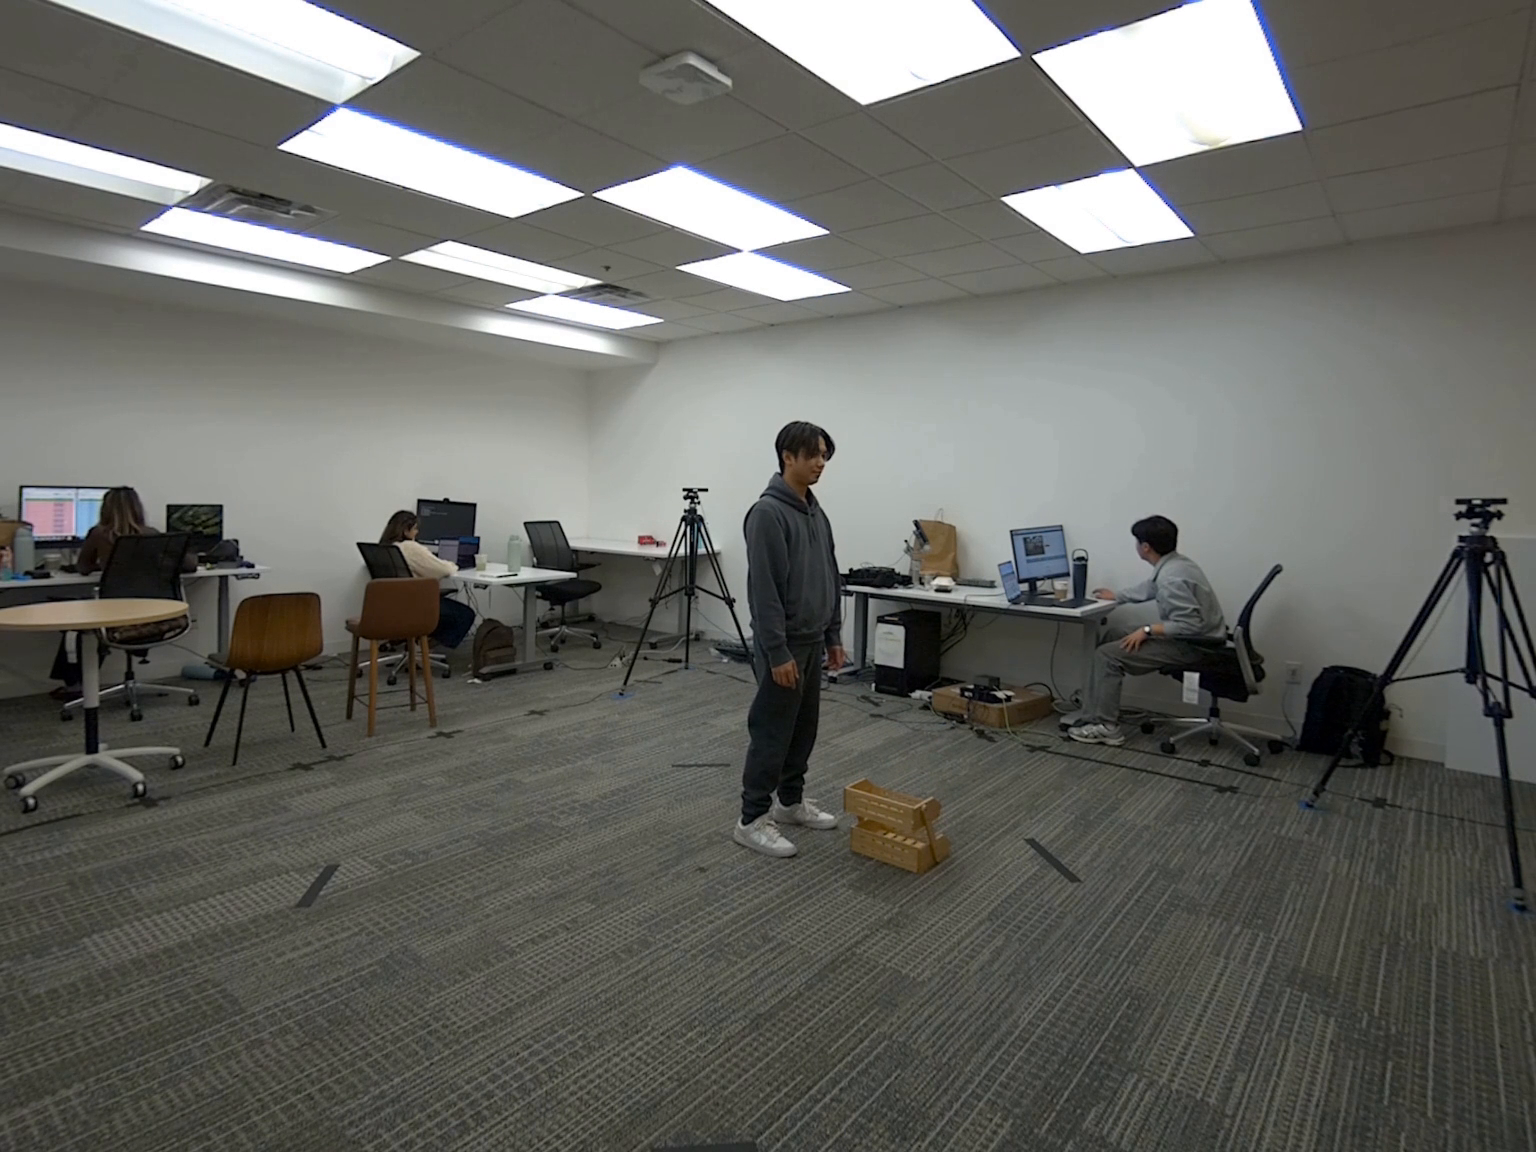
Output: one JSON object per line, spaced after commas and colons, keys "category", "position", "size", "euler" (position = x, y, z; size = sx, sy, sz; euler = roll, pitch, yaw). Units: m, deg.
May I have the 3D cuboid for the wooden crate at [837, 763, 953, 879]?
{"category": "wooden crate", "position": [0.490, 0.936, 3.264], "size": [0.335, 0.272, 0.293], "euler": [5, 7, 39]}
